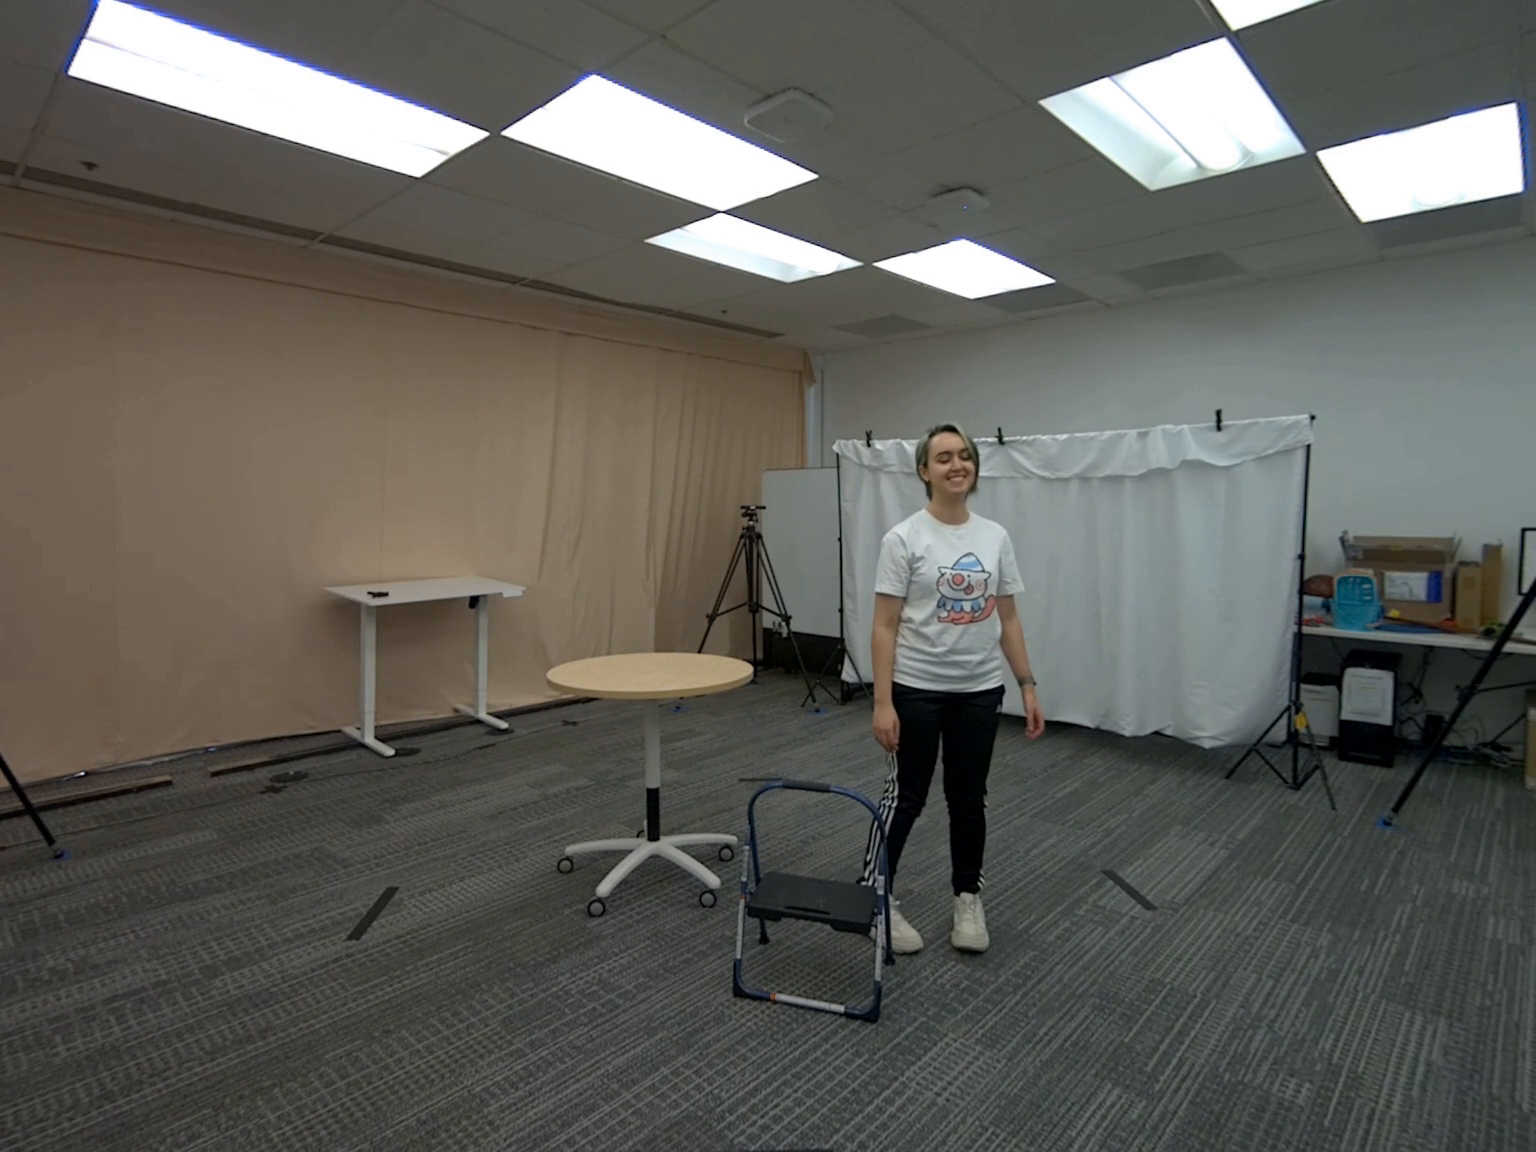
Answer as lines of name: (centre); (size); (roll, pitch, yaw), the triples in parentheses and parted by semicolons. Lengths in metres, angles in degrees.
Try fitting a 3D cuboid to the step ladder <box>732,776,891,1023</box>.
step ladder: (0.140, 0.885, 2.469); (0.438, 0.605, 0.343); (1, 3, 16)
